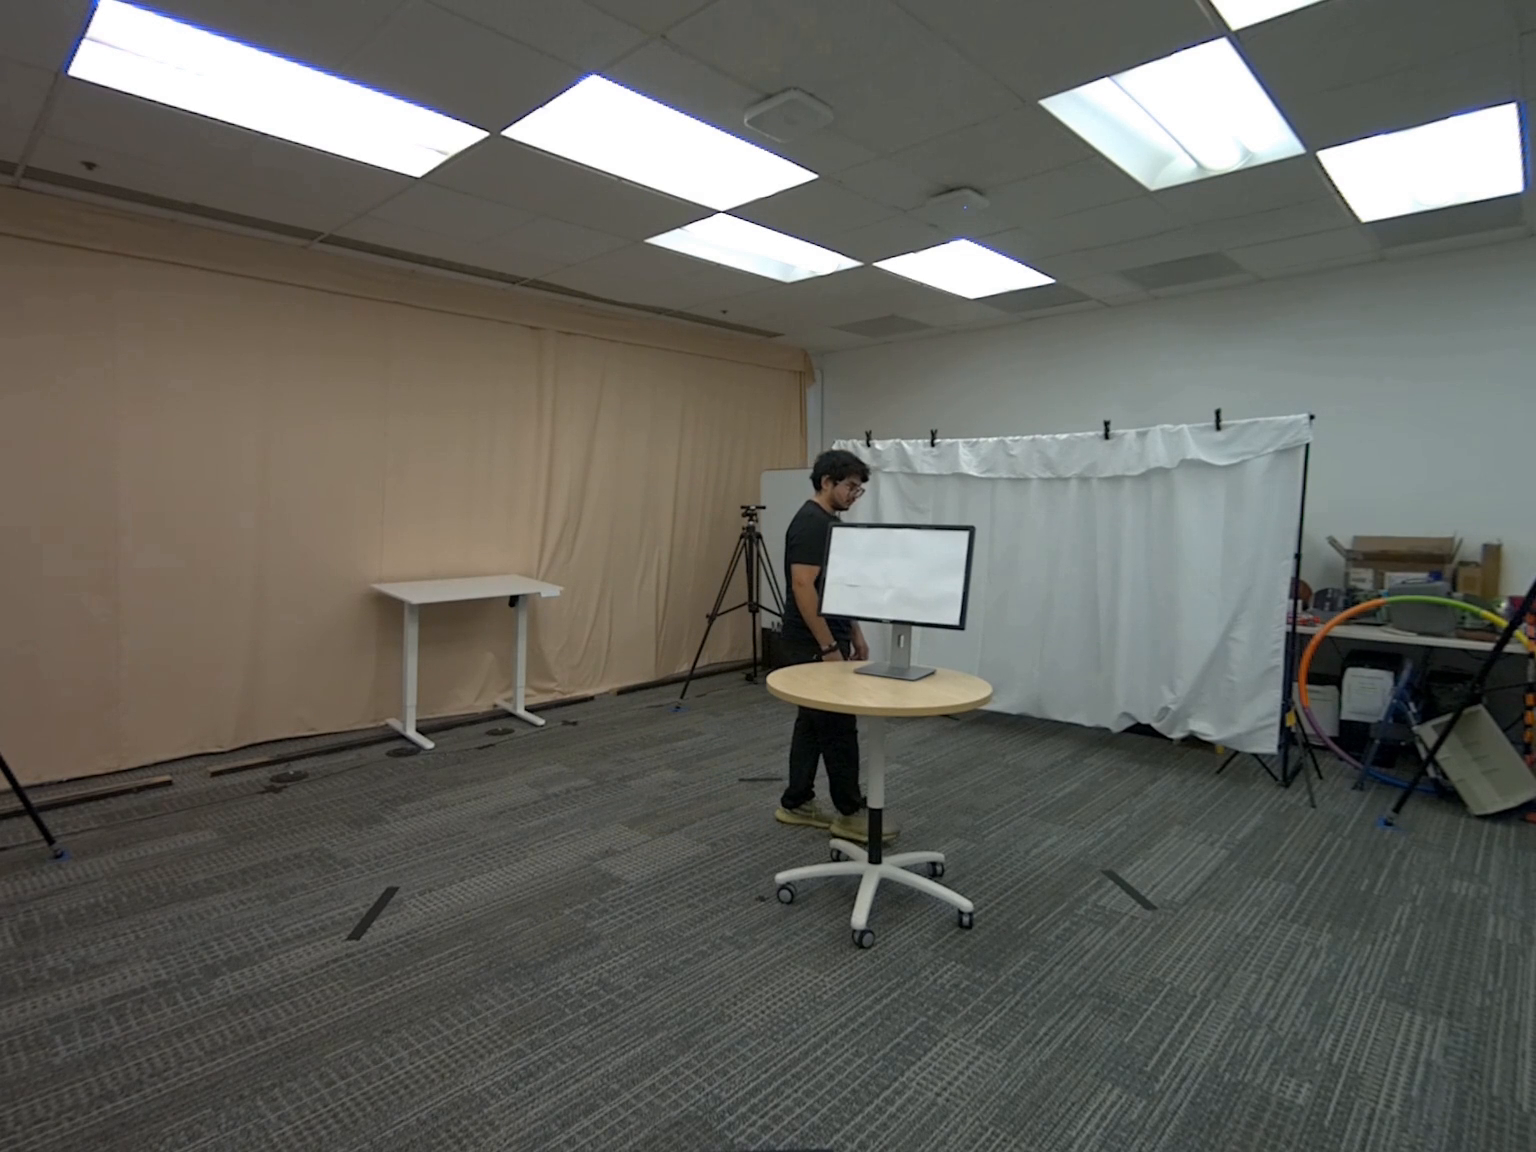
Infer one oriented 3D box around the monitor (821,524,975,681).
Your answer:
[{"bbox_3d":[0.484,0.087,3.082,0.583,0.555,0.203,3,-3,34],"label":"monitor"}]
